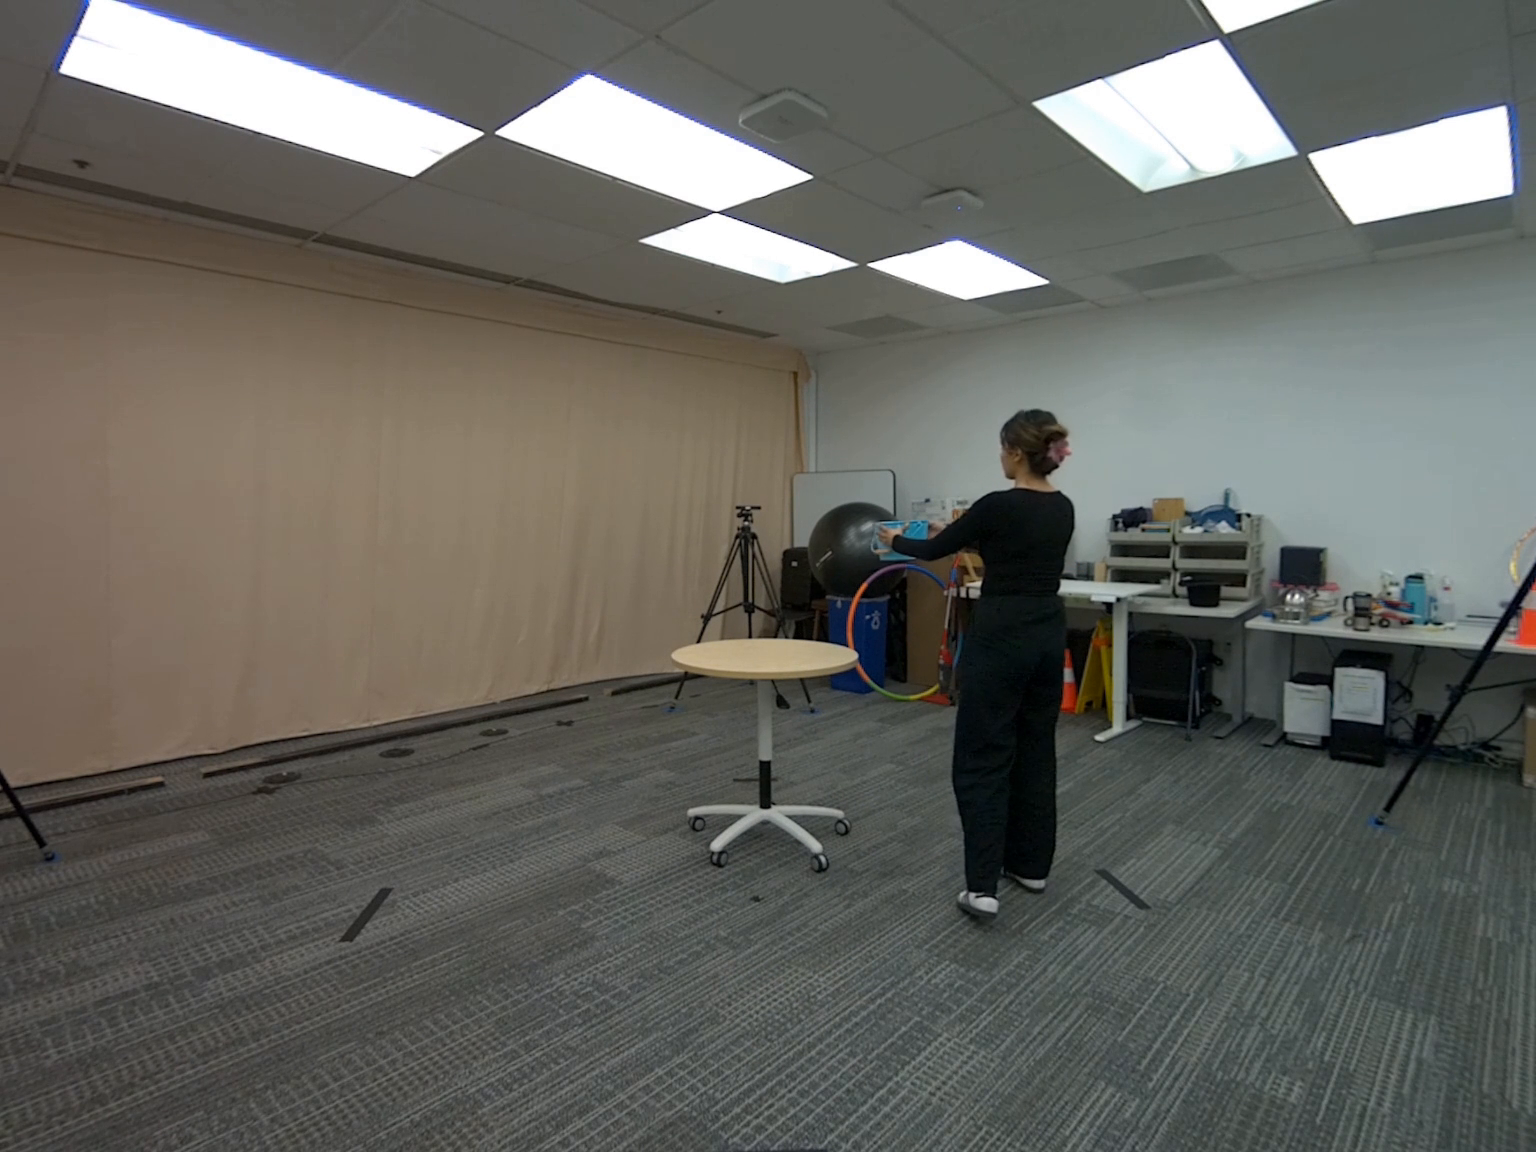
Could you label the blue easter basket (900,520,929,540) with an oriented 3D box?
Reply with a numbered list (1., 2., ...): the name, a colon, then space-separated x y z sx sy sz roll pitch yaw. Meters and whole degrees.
1. blue easter basket: 0.554 -0.145 3.463 0.243 0.156 0.244 -1 2 -2
